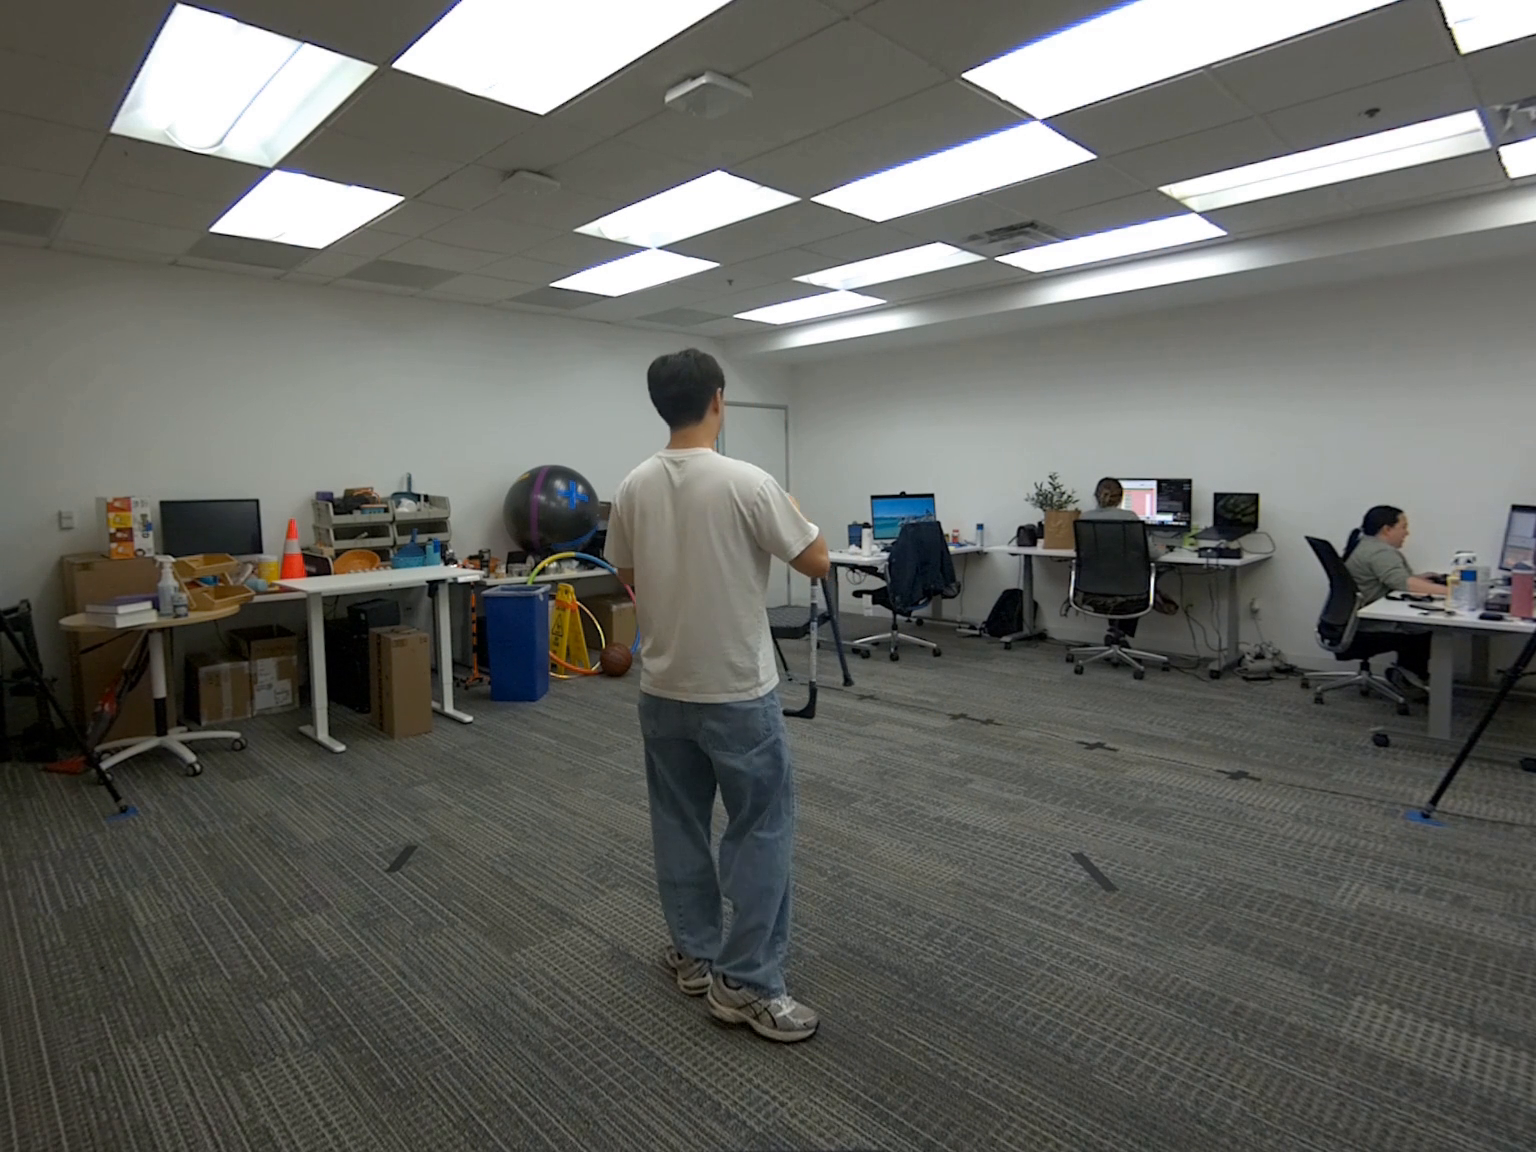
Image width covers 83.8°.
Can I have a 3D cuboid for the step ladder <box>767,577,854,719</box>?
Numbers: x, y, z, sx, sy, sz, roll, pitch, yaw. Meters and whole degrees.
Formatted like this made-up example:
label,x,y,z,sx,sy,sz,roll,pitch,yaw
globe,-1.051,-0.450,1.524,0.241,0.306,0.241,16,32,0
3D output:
label,x,y,z,sx,sy,sz,roll,pitch,yaw
step ladder,-0.019,0.082,2.601,0.440,0.601,0.344,-2,9,27
